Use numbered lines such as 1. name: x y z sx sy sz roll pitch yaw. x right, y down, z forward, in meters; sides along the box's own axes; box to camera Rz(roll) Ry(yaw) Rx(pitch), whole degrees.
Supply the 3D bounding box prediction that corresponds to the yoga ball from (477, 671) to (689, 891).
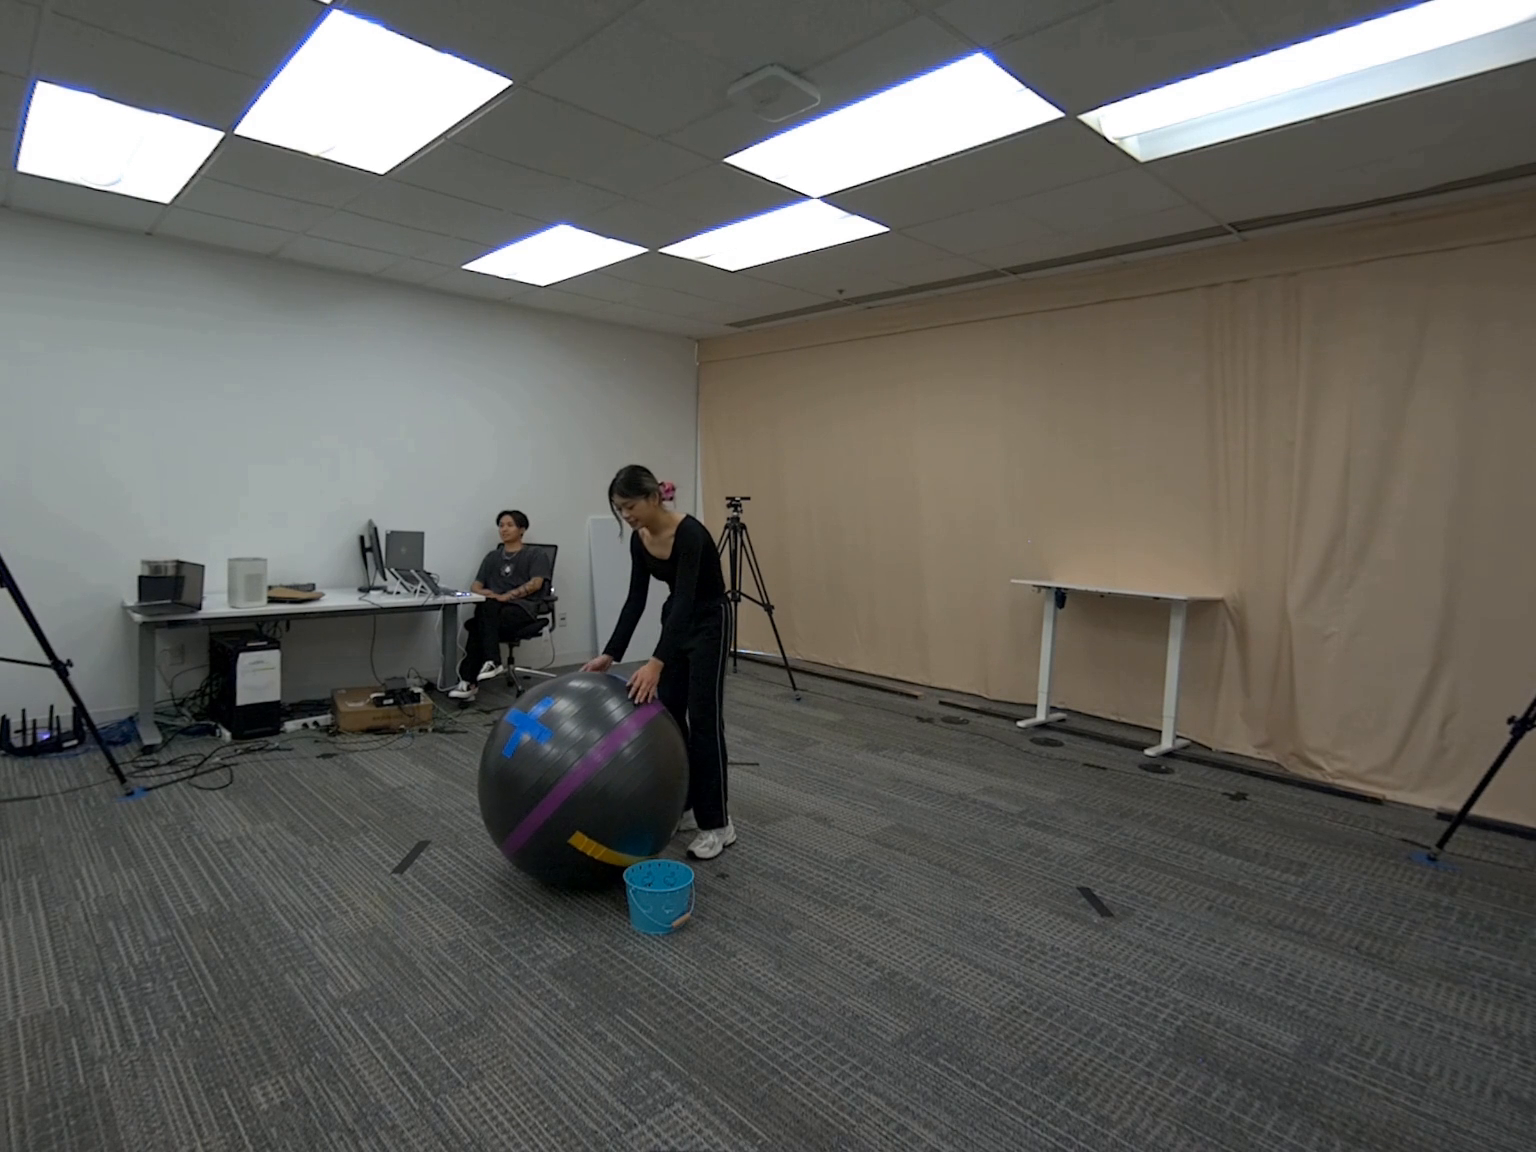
1. yoga ball: -0.680 0.735 3.055 0.757 0.756 0.761 1 4 -1
